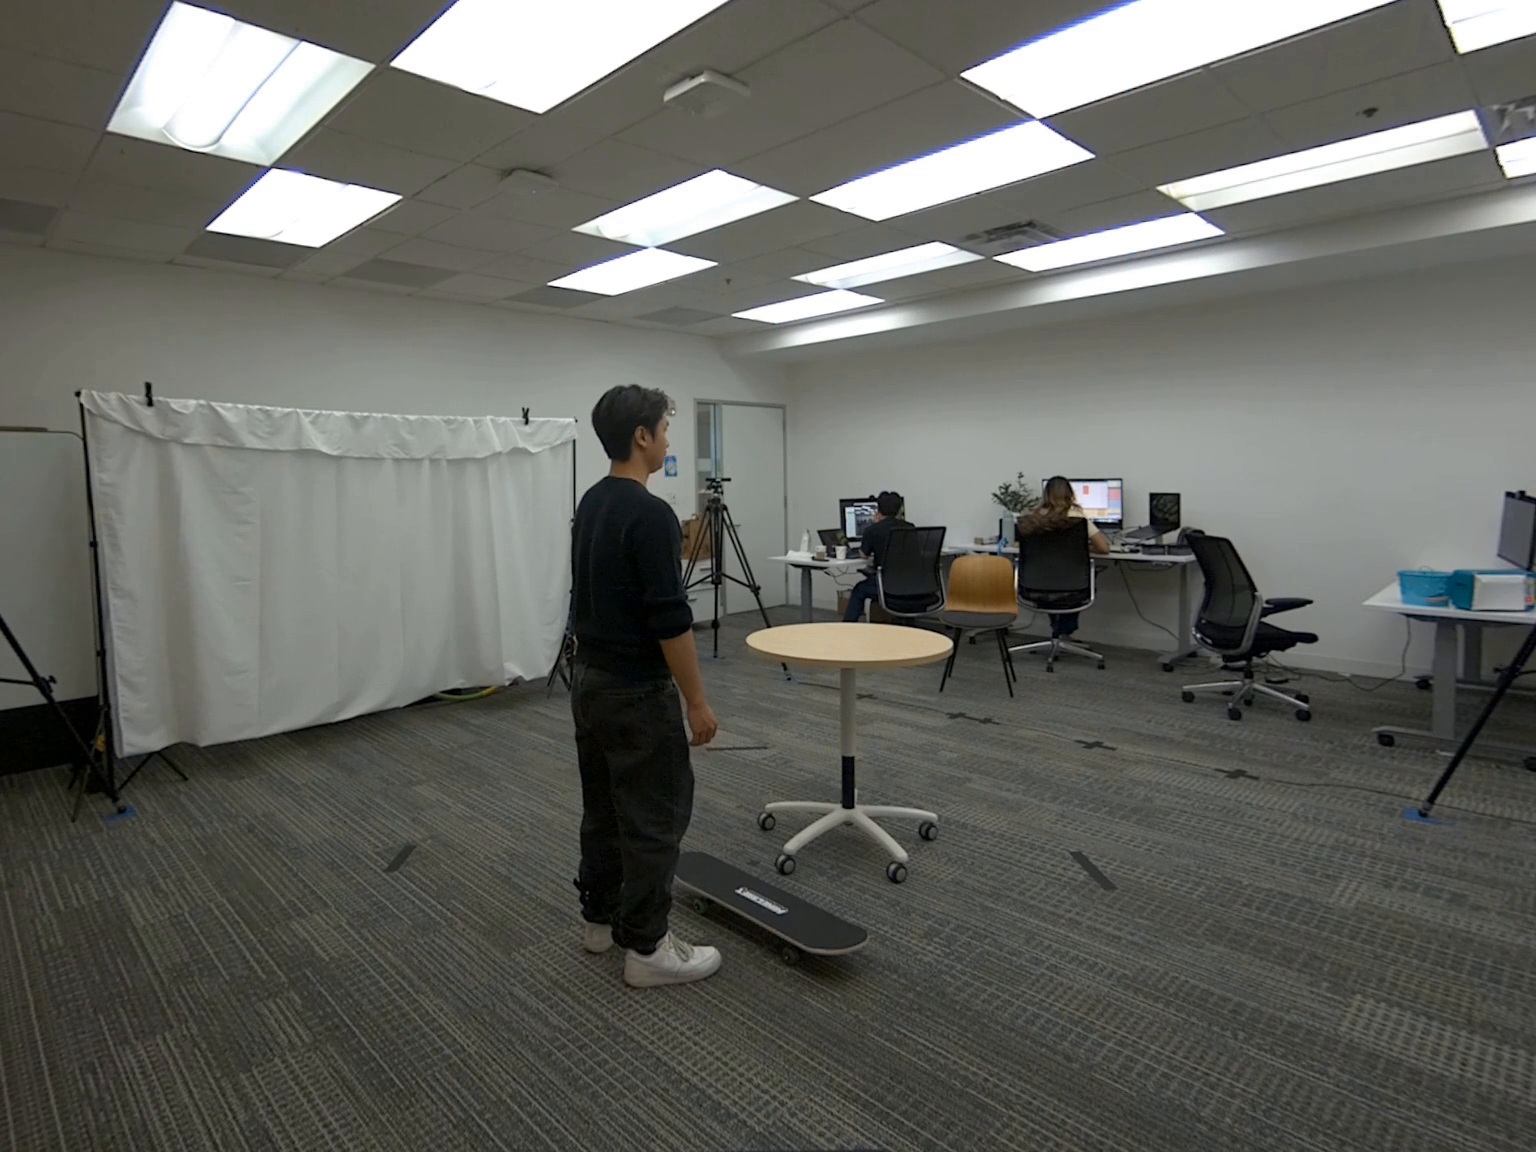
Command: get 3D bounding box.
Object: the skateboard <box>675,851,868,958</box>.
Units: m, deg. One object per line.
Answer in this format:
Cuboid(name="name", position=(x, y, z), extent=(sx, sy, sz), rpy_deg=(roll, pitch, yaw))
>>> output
Cuboid(name="skateboard", position=(-0.018, 1.043, 2.646), extent=(0.188, 0.110, 0.810), rpy_deg=(-7, 9, -43))
